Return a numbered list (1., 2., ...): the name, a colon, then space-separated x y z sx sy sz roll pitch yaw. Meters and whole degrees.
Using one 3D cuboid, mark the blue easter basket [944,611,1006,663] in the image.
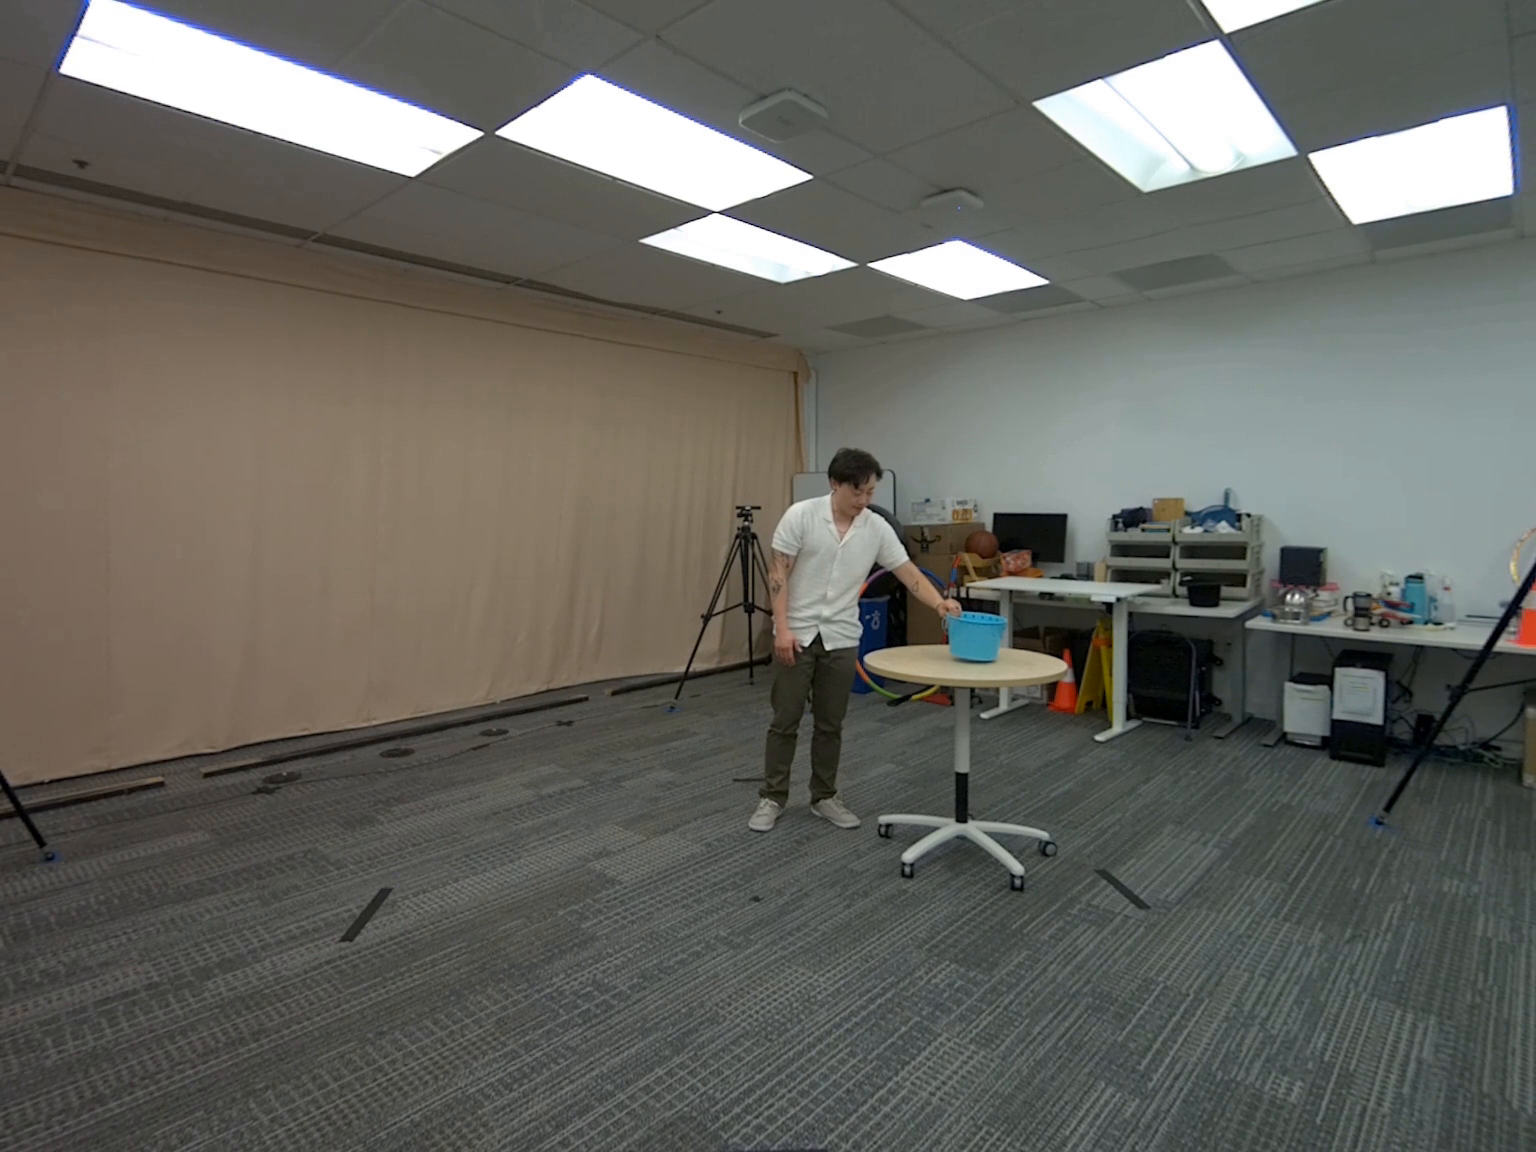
1. blue easter basket: 0.830 0.241 3.309 0.243 0.155 0.245 5 7 -2
